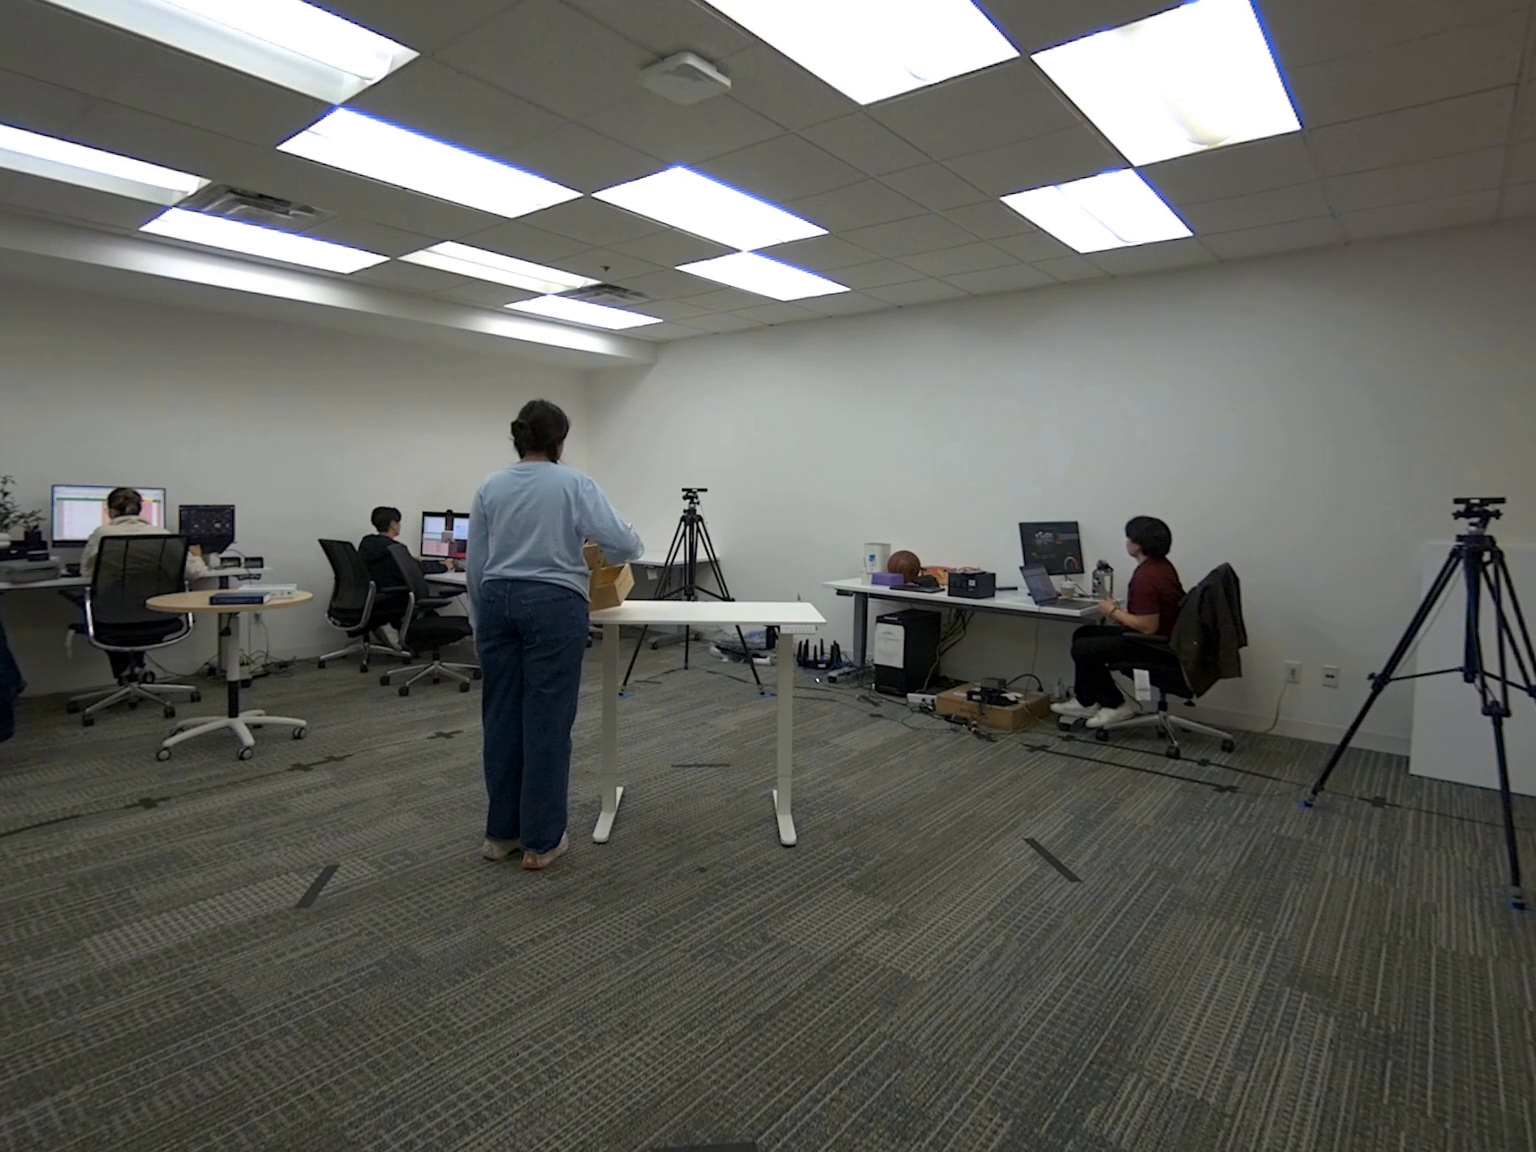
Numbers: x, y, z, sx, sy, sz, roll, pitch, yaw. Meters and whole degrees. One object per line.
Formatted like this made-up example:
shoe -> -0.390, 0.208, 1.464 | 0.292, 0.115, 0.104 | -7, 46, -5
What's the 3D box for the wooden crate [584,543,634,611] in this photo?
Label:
wooden crate -> -0.719, -0.036, 3.488 | 0.305, 0.269, 0.326 | -9, 14, 9
